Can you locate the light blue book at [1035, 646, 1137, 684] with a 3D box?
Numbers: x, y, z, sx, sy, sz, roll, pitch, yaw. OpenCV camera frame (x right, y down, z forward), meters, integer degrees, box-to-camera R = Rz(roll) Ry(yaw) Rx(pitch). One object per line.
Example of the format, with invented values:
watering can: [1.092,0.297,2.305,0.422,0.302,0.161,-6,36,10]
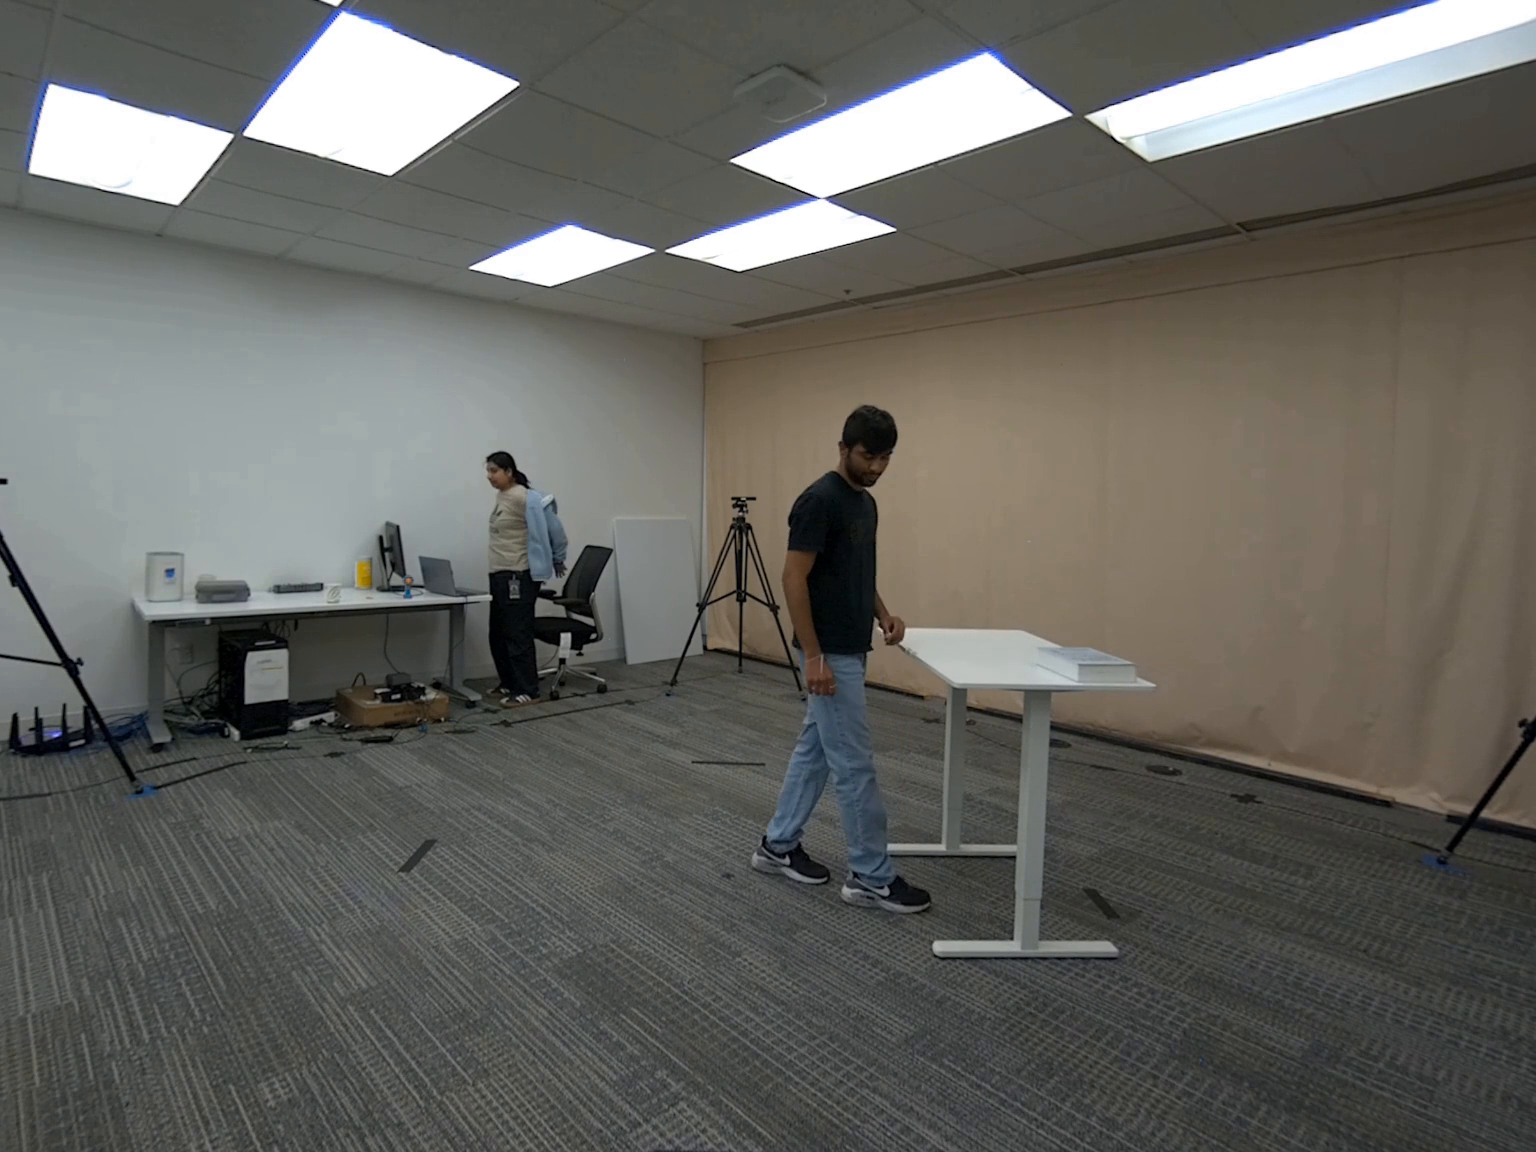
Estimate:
light blue book: [0.966,0.270,2.606,0.190,0.059,0.263,2,5,-9]
